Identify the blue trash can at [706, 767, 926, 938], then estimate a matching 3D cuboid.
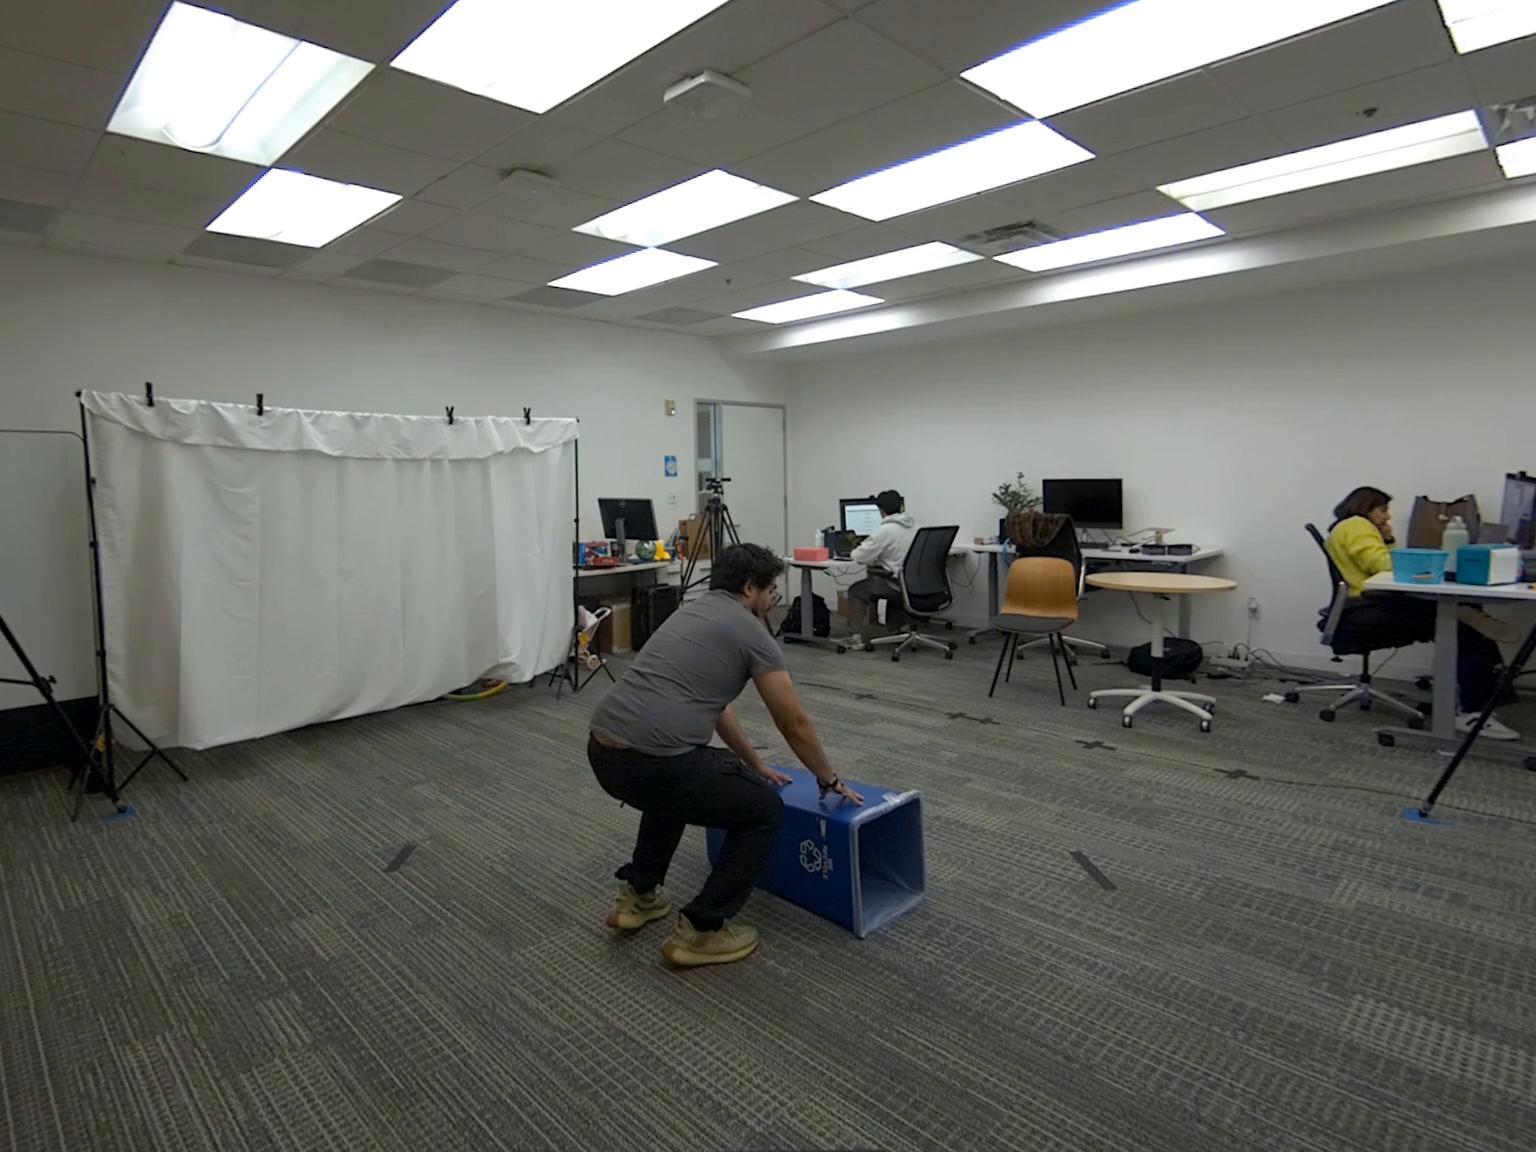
[{"bbox_3d":[0.141,0.887,2.951,0.364,0.377,0.735,-7,7,-44],"label":"blue trash can"}]
